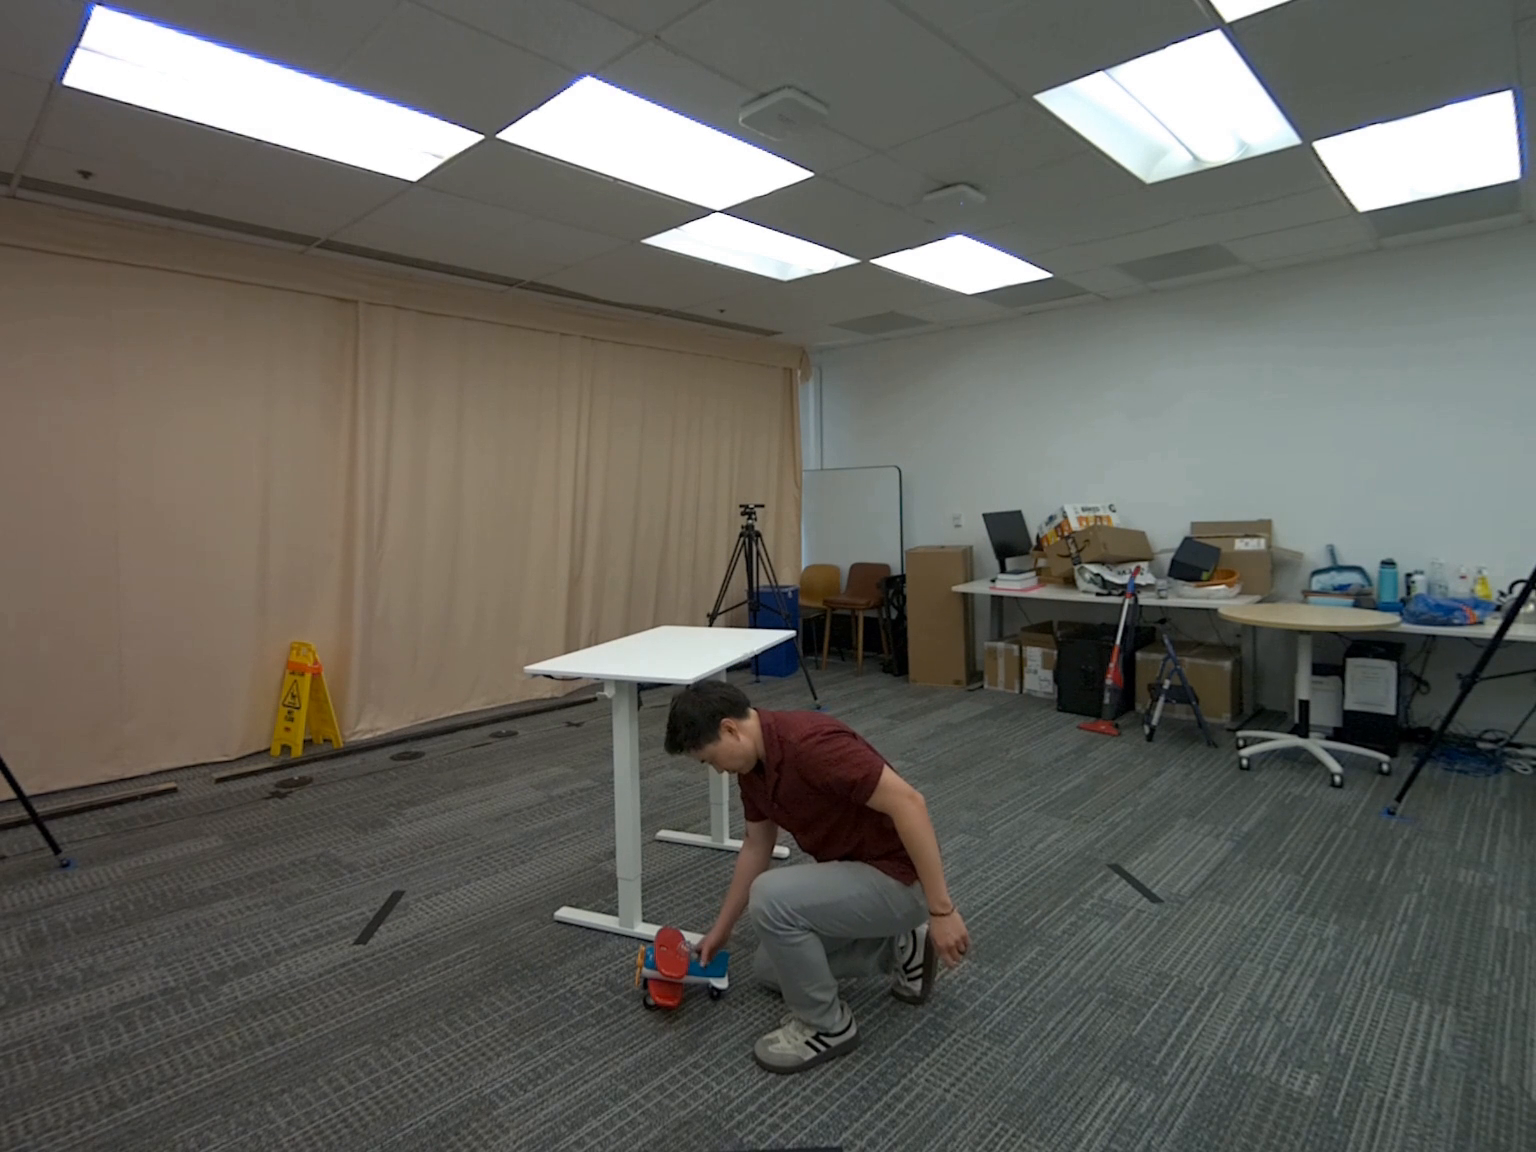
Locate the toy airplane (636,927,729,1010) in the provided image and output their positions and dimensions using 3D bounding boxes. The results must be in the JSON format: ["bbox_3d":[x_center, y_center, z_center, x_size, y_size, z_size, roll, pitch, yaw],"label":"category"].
[{"bbox_3d":[-0.243,1.125,2.396,0.252,0.156,0.258,-4,3,-31],"label":"toy airplane"}]
